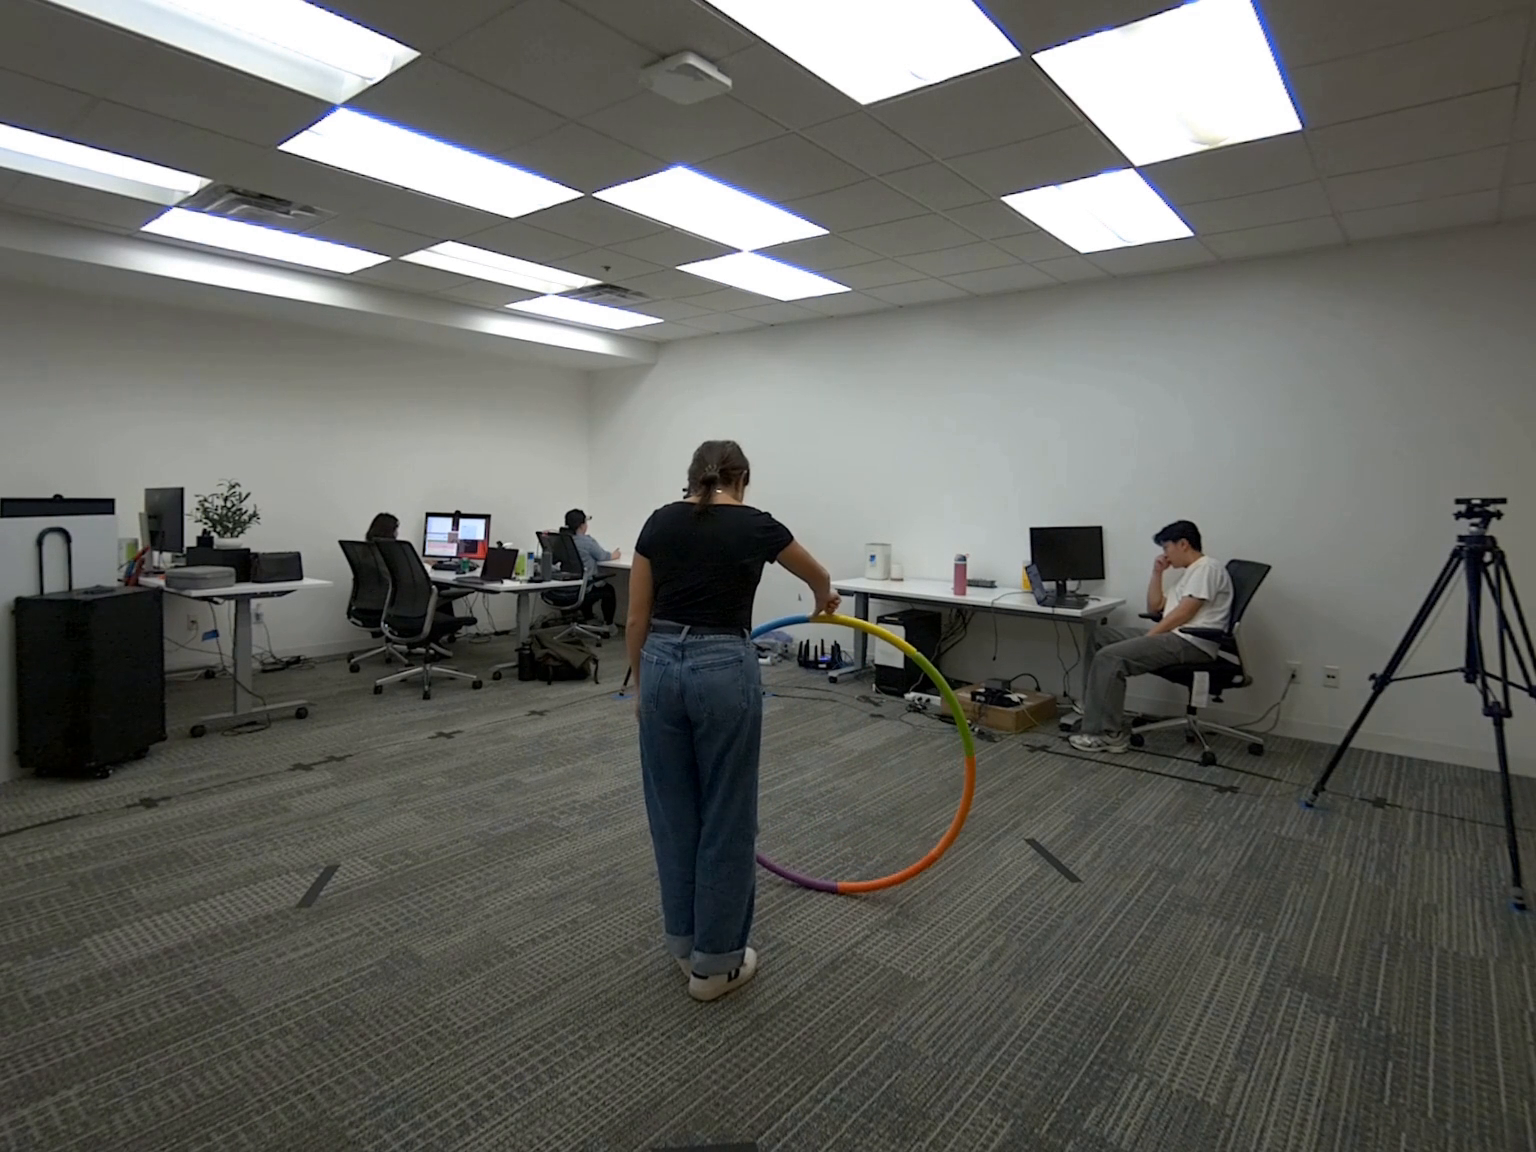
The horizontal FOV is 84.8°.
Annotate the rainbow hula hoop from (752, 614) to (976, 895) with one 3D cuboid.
[{"bbox_3d":[0.198,0.610,2.926,0.998,0.973,0.035,2,6,19],"label":"rainbow hula hoop"}]
